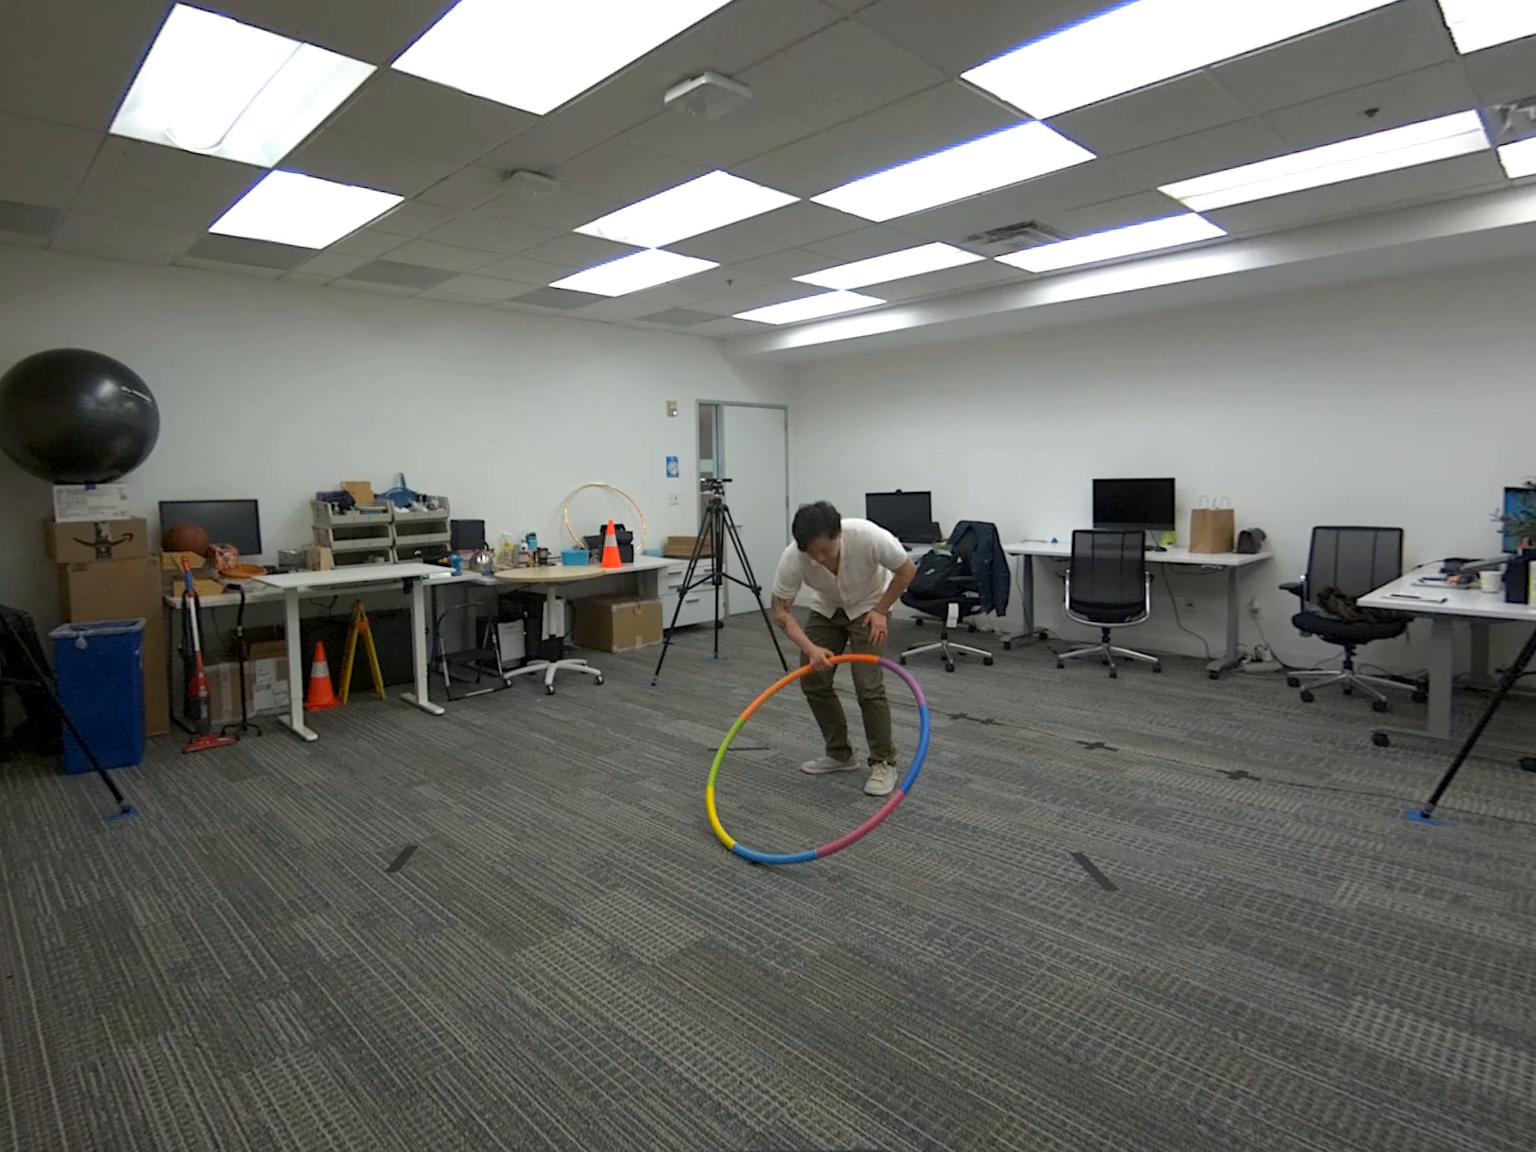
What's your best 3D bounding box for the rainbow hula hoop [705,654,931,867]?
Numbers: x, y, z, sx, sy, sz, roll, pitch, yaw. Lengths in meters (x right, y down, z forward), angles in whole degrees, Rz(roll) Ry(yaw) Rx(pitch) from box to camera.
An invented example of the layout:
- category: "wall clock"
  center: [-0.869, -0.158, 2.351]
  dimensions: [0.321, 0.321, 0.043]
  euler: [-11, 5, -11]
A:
- category: "rainbow hula hoop"
  center: [0.168, 0.694, 3.371]
  dimensions: [0.985, 0.034, 1.003]
  euler: [-27, 30, 14]
